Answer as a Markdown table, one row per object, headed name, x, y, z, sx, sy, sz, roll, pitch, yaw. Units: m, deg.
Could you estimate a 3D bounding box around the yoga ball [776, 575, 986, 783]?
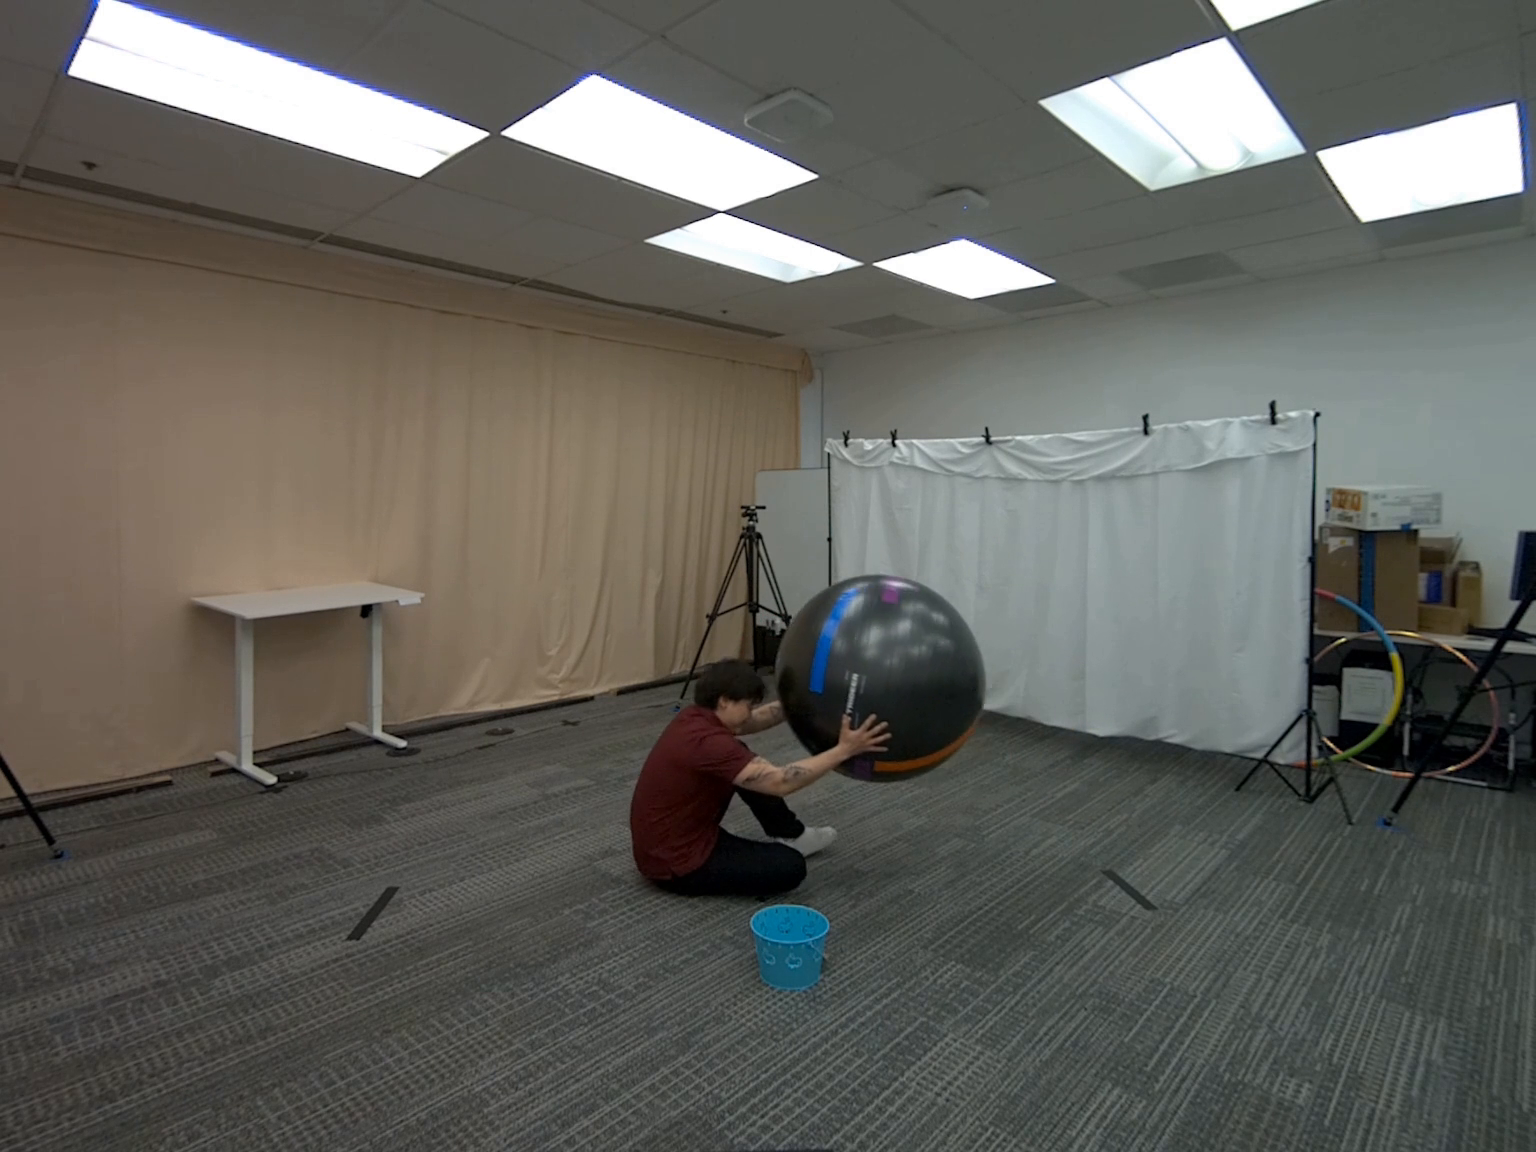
| name | x | y | z | sx | sy | sz | roll | pitch | yaw |
| --- | --- | --- | --- | --- | --- | --- | --- | --- | --- |
| yoga ball | 0.413 | 0.380 | 3.137 | 0.757 | 0.756 | 0.760 | 0 | 4 | -2 |
